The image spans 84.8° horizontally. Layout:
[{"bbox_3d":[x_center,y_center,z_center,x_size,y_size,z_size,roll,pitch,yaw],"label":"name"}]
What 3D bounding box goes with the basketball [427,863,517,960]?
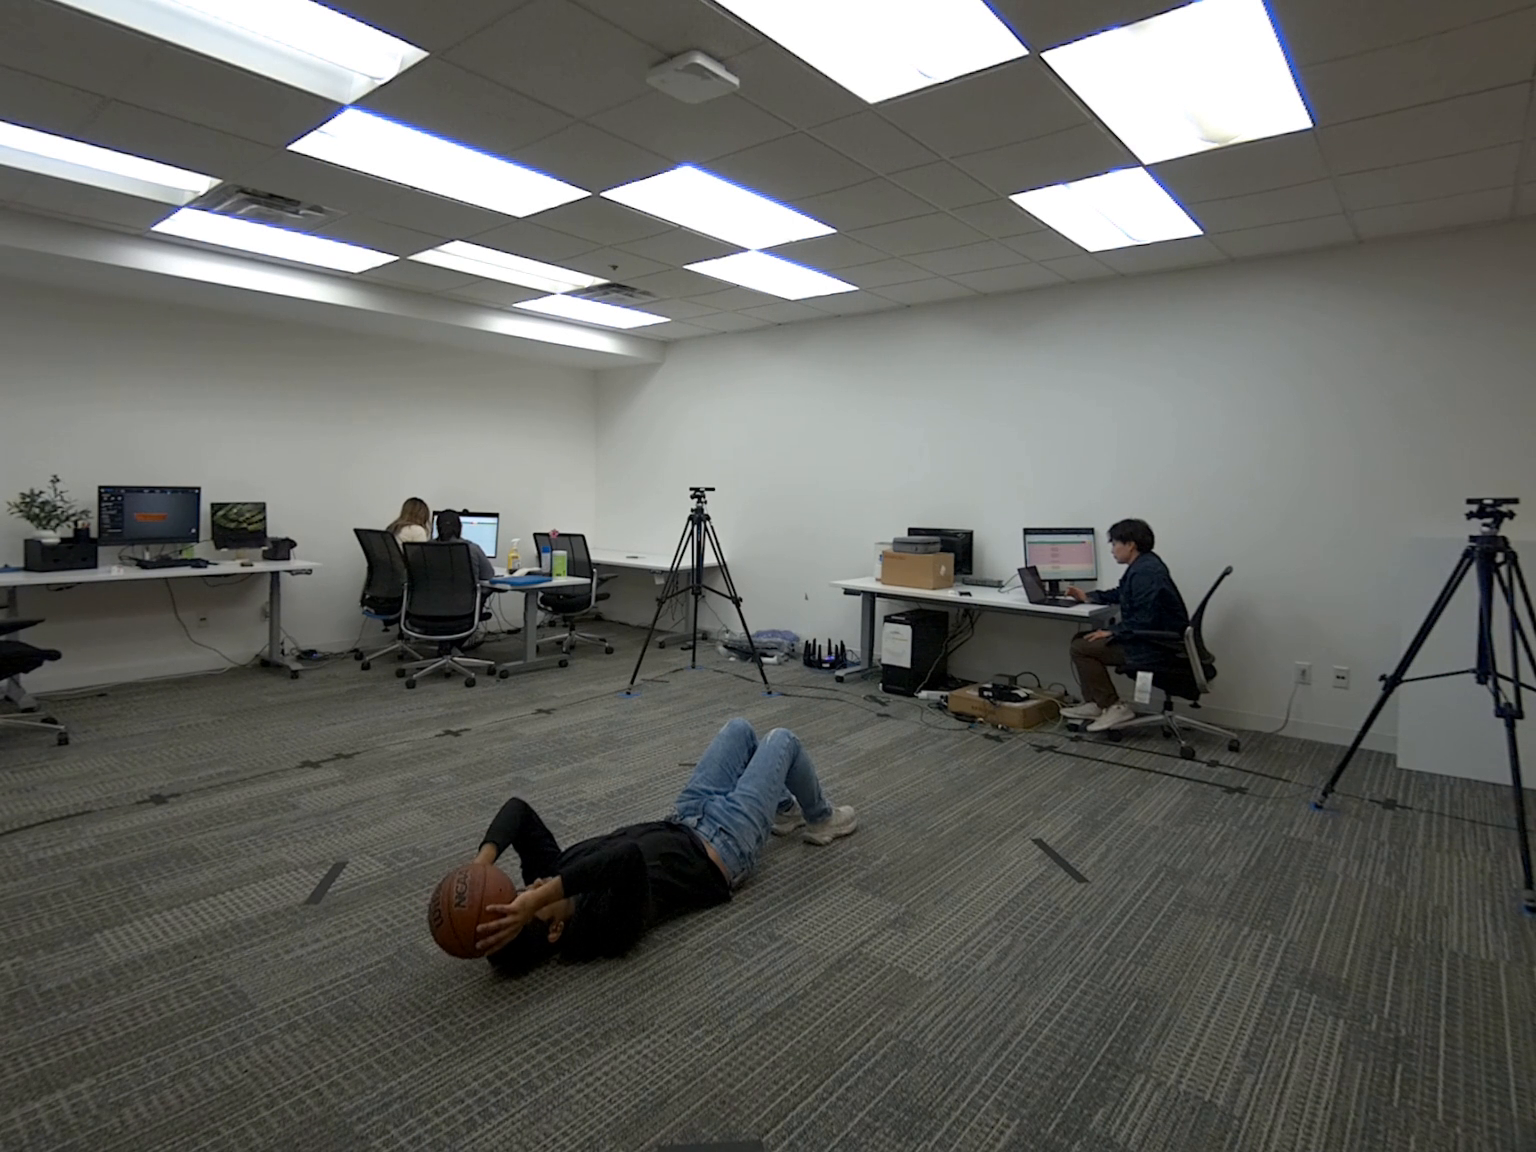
[{"bbox_3d":[-0.812,0.908,2.319,0.235,0.235,0.237,1,4,-2],"label":"basketball"}]
